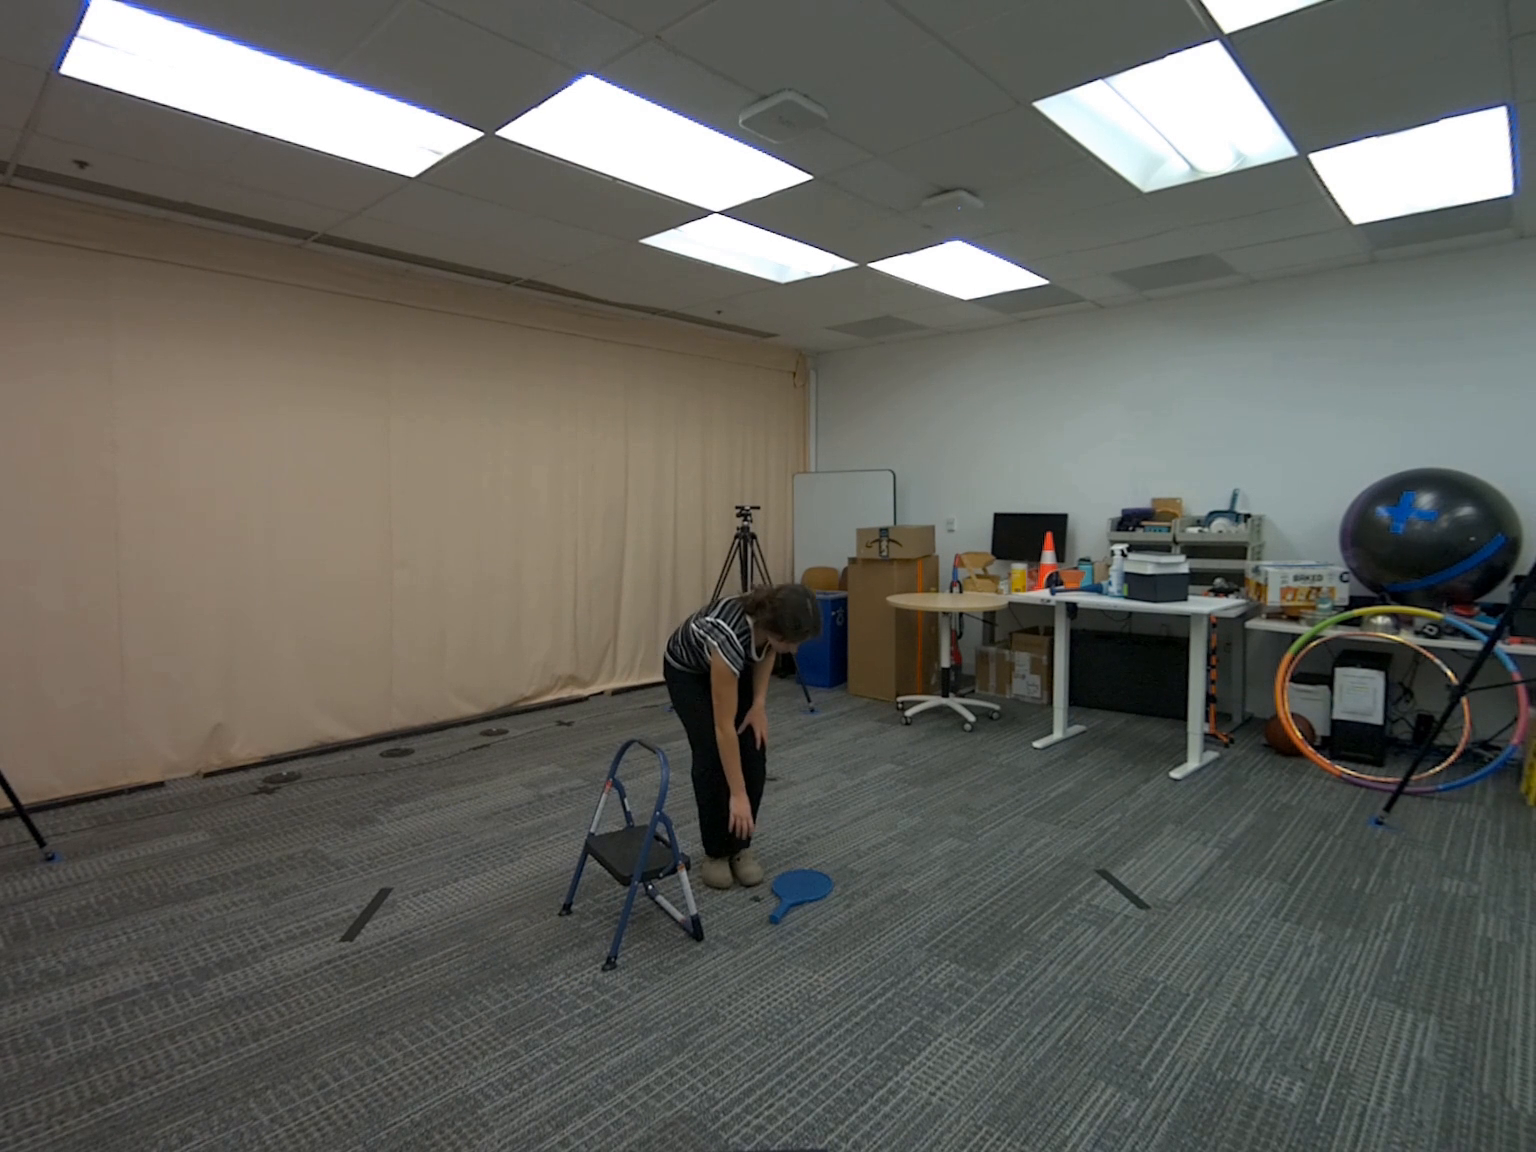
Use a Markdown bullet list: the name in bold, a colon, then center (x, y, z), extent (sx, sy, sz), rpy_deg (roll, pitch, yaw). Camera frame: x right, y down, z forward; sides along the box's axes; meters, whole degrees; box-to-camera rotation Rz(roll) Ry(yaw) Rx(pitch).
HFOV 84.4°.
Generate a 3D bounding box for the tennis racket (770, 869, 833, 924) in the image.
- **tennis racket**: center (0.098, 1.129, 2.996), extent (0.219, 0.032, 0.423), rpy_deg (2, 3, 23)
